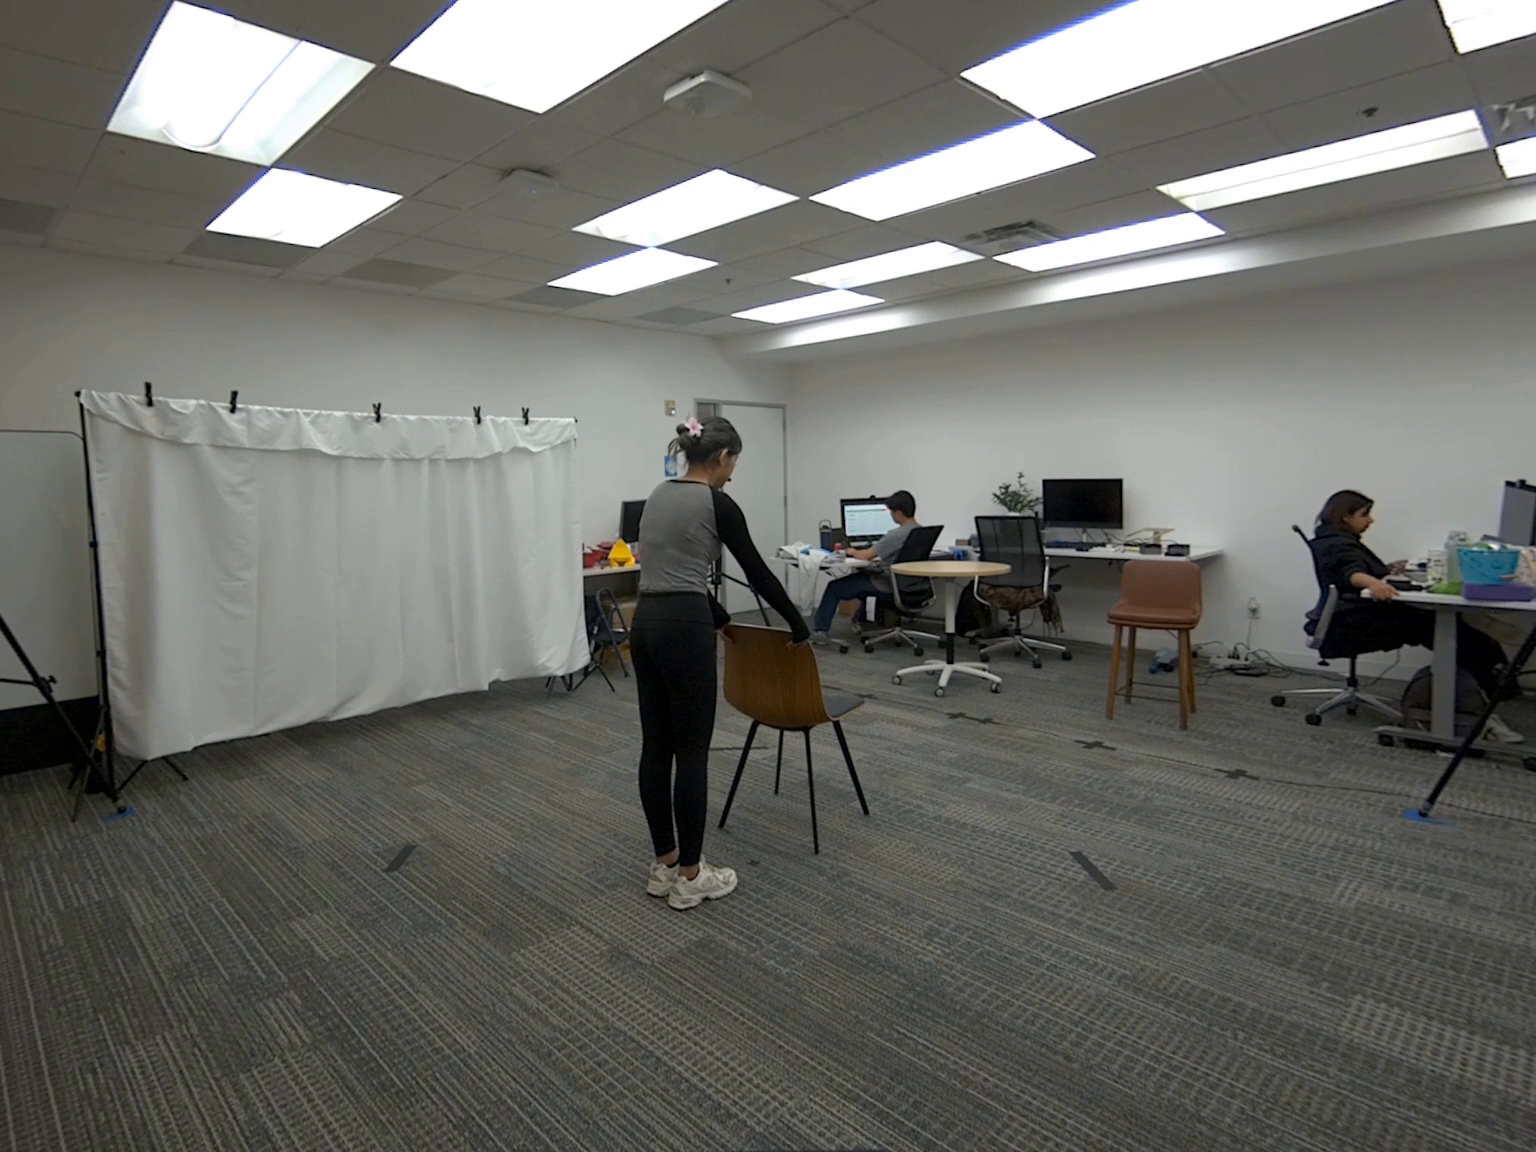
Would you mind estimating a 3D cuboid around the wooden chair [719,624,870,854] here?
[{"bbox_3d":[0.105,0.570,3.451,0.491,0.871,0.513,1,10,33],"label":"wooden chair"}]
